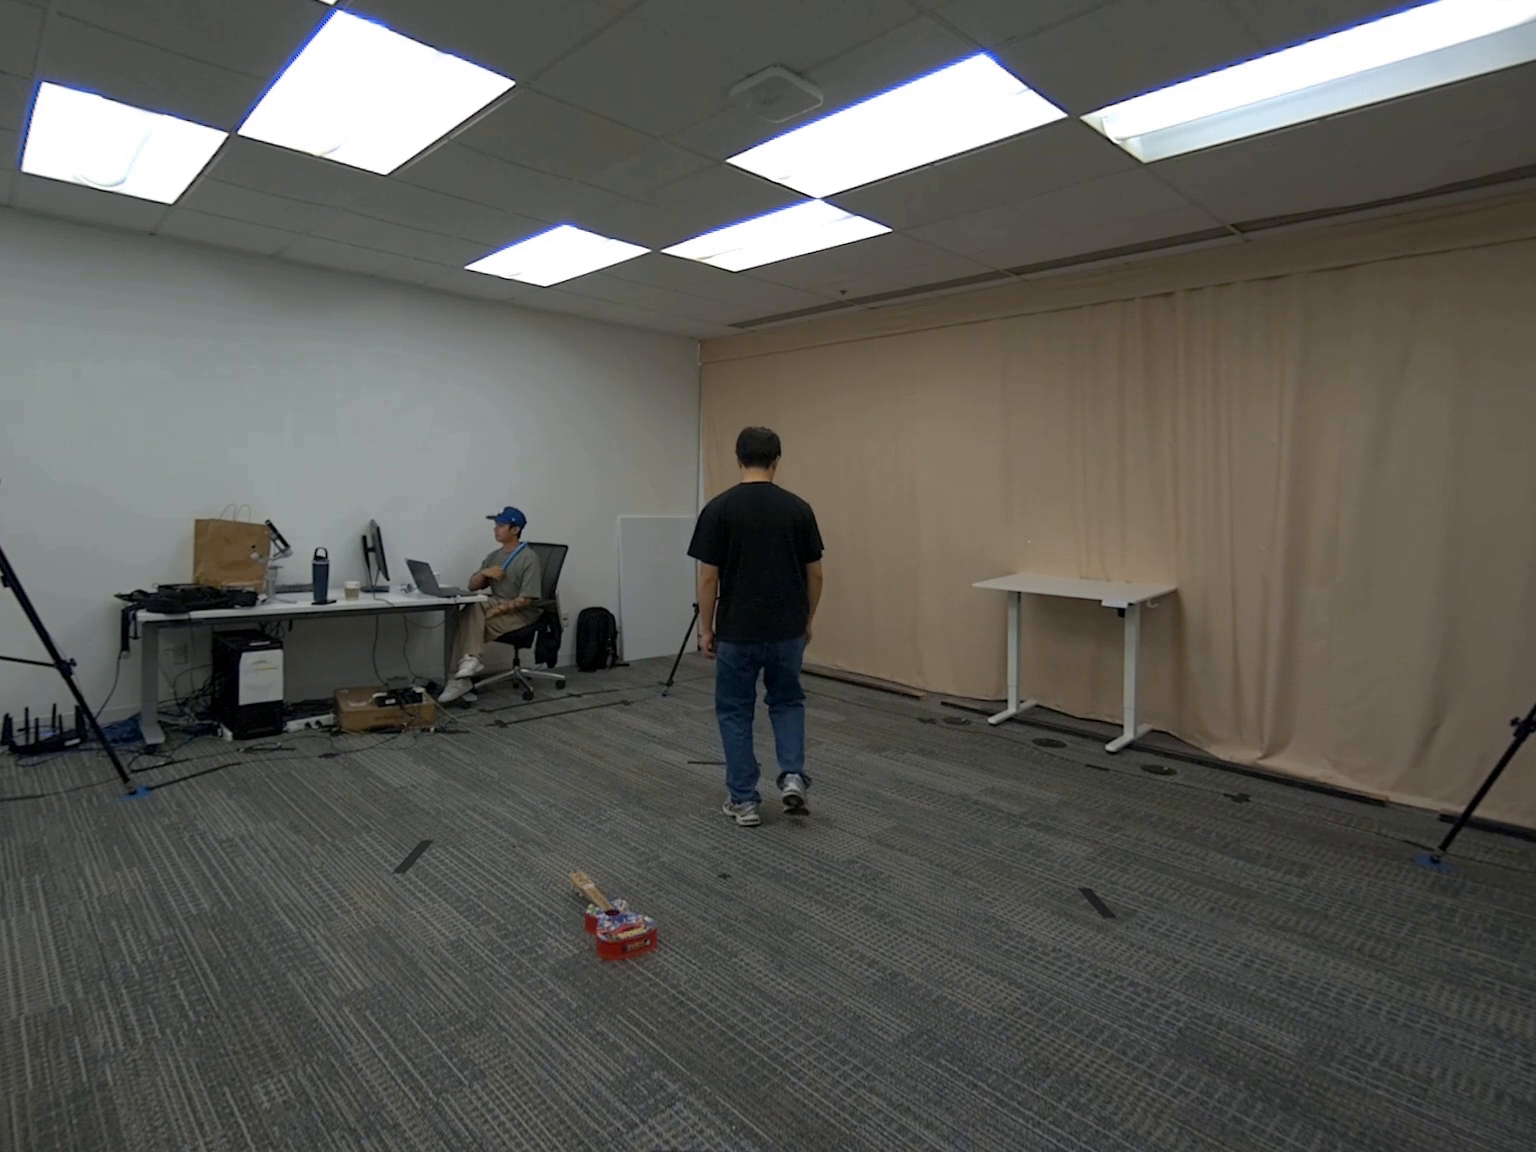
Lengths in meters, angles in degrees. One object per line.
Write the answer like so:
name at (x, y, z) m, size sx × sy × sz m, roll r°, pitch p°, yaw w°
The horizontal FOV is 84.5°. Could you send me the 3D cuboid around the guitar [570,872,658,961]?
guitar at (-0.524, 1.098, 2.760) m, size 0.190 × 0.070 × 0.508 m, roll -2°, pitch 6°, yaw -25°
